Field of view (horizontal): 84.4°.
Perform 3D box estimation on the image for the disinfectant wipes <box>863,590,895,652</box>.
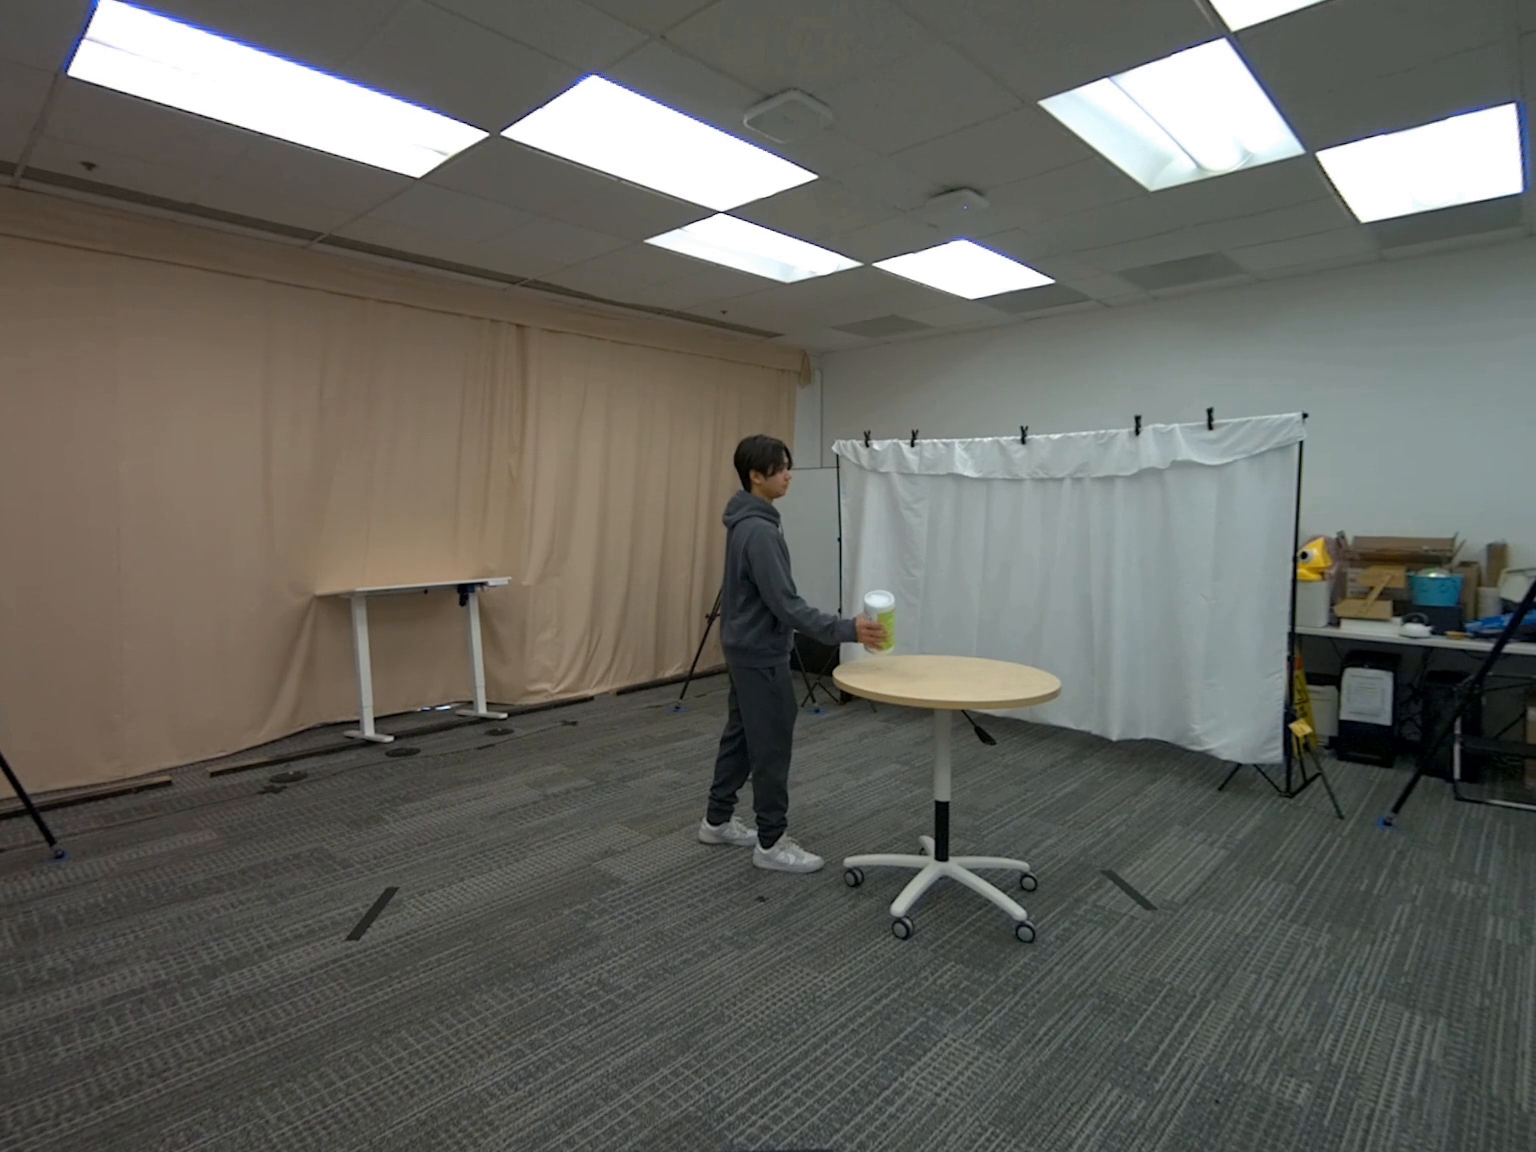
[{"bbox_3d":[0.401,0.168,2.997,0.118,0.213,0.120,-3,31,0],"label":"disinfectant wipes"}]
